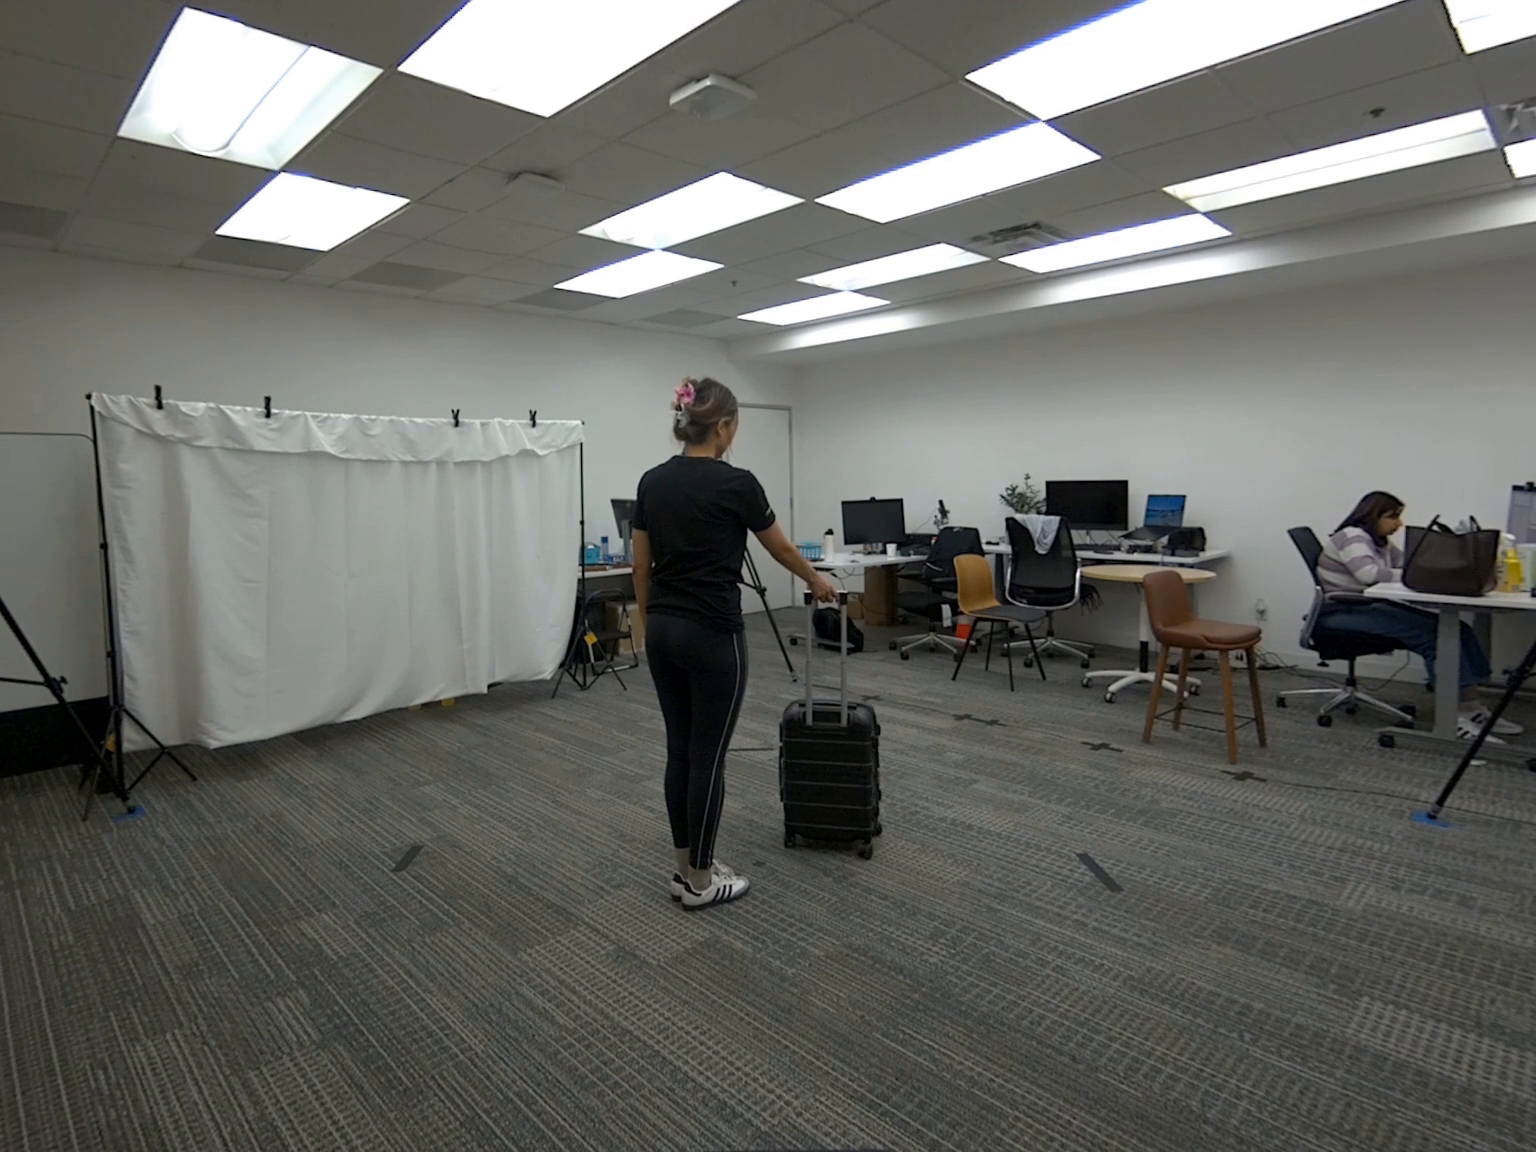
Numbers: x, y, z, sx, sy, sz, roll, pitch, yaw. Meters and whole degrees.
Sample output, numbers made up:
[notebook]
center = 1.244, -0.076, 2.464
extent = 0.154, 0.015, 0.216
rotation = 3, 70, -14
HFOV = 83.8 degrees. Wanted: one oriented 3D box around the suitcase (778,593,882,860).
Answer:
[suitcase]
center = 0.235, 0.548, 3.272
extent = 0.389, 0.977, 0.254
rotation = 0, 2, 12
